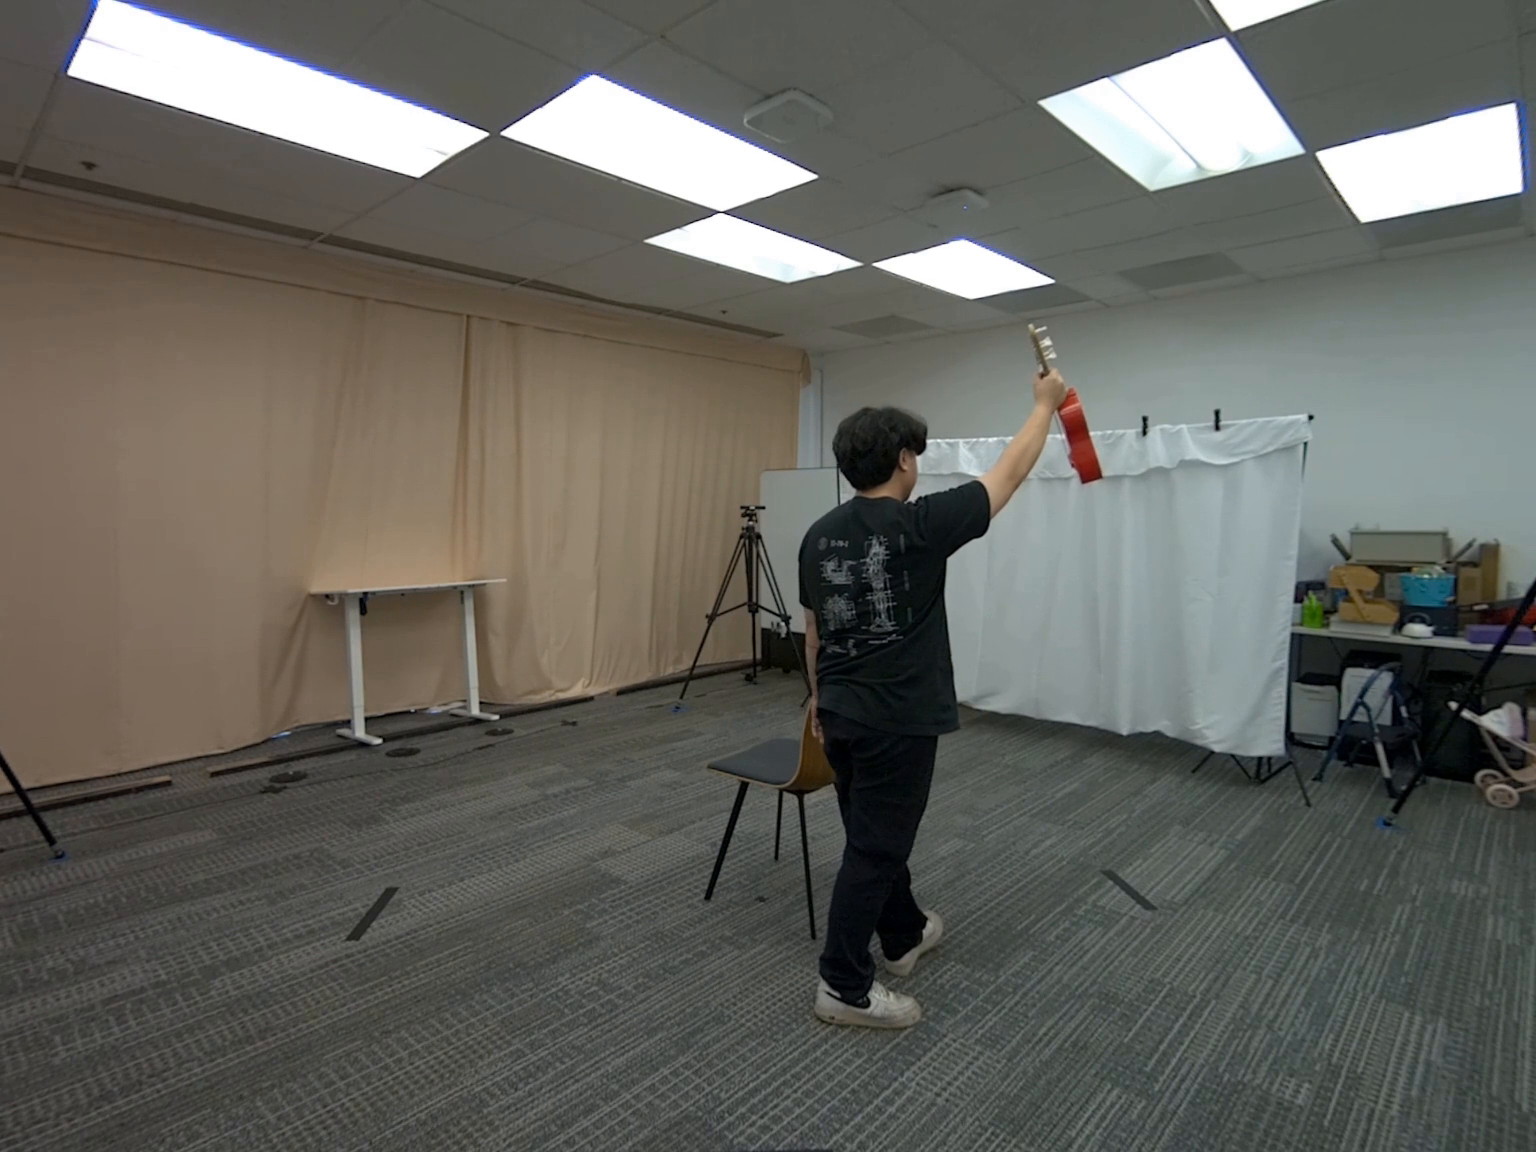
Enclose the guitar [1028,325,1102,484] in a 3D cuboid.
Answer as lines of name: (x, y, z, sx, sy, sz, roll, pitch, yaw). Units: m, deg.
guitar: (0.842, -0.467, 2.361, 0.072, 0.482, 0.196, -18, 38, 20)
